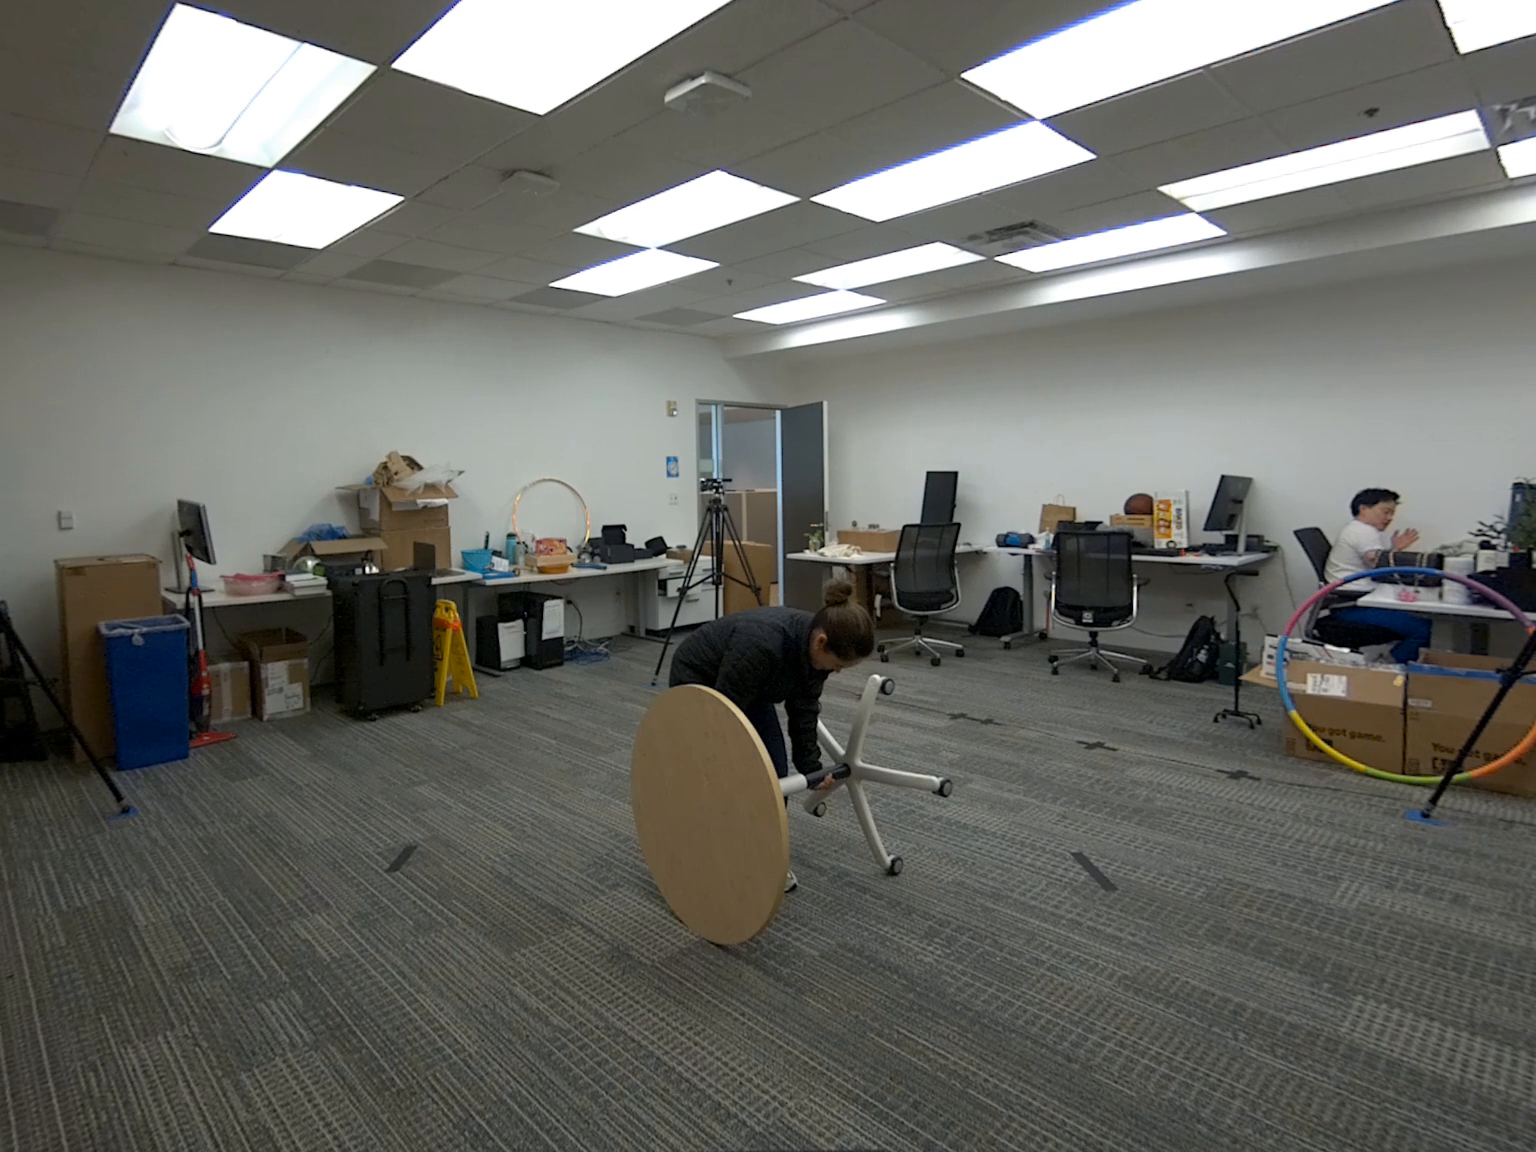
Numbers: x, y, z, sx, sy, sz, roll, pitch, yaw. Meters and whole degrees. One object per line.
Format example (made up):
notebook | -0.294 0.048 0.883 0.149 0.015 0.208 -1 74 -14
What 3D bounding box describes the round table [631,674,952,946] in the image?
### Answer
round table | 0.074 0.704 2.881 0.765 0.783 0.809 -2 4 -42
